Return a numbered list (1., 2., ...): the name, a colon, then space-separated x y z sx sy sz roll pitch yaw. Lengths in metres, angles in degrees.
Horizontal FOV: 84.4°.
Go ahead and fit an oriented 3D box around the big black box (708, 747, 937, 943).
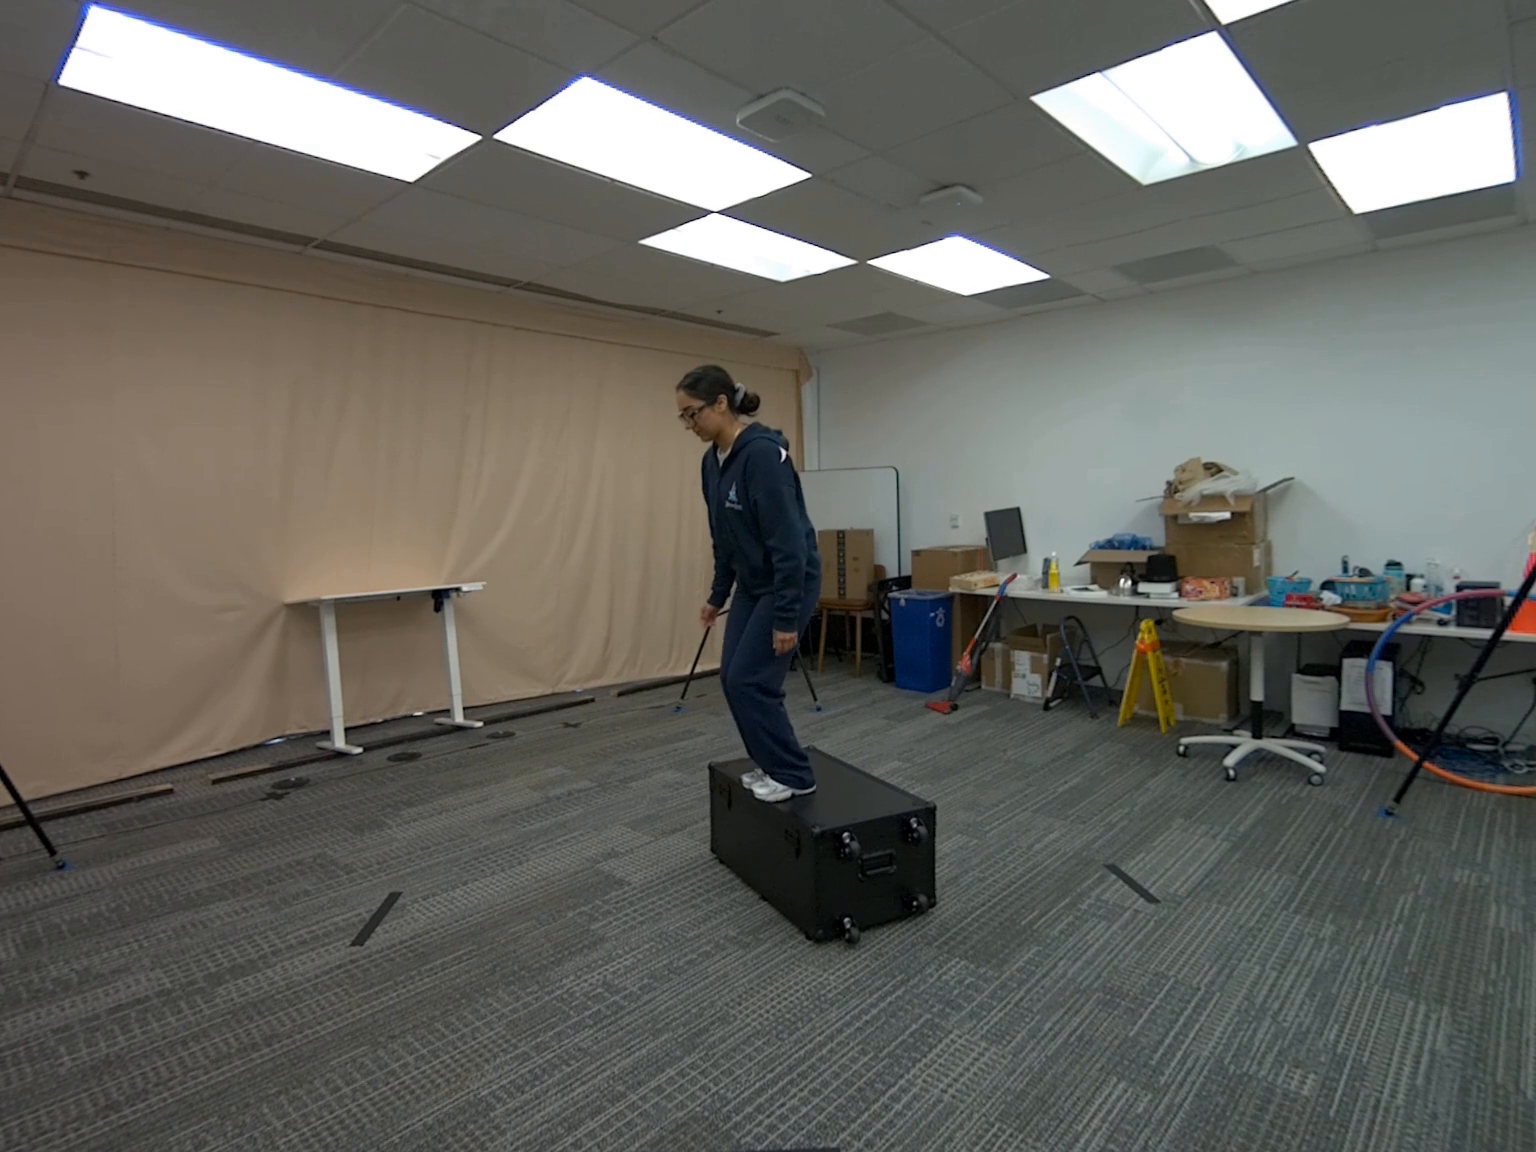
1. big black box: 0.199 0.952 3.060 0.386 0.520 0.887 -5 6 -30
